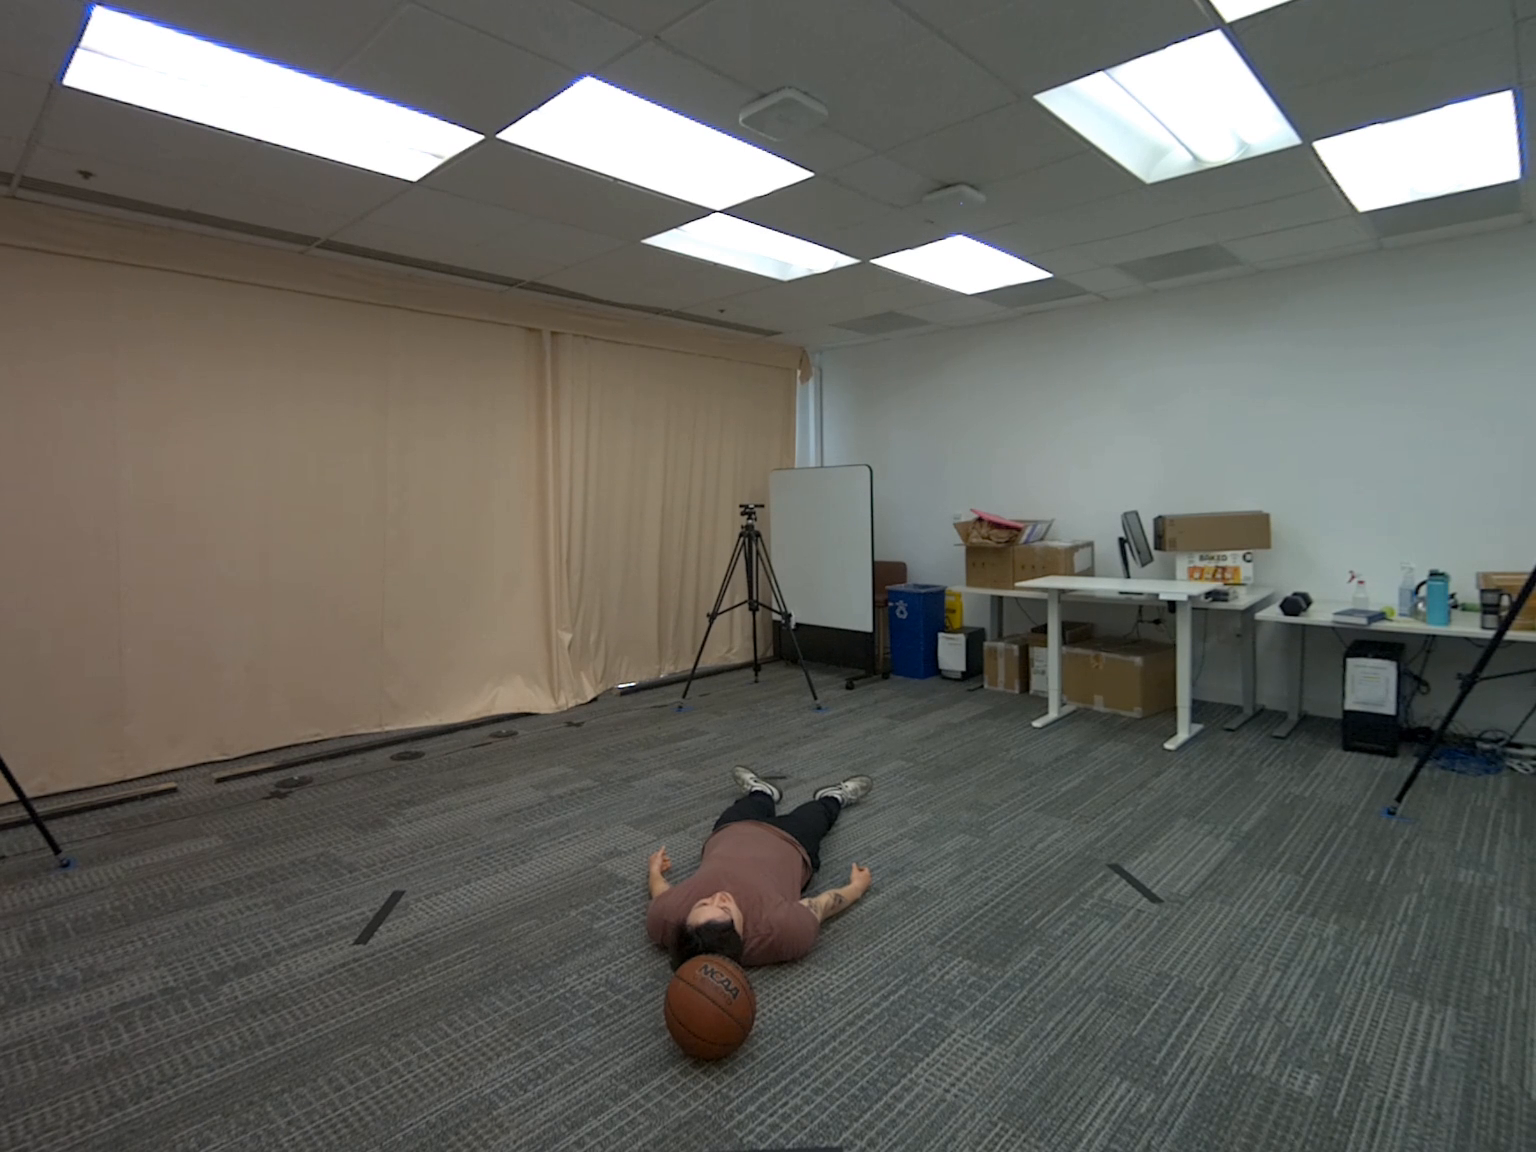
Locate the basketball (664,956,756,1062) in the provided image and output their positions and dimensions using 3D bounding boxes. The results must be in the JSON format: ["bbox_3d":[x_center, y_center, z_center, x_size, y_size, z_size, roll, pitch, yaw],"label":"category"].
[{"bbox_3d":[-0.137,1.094,2.142,0.235,0.235,0.237,3,5,-2],"label":"basketball"}]
